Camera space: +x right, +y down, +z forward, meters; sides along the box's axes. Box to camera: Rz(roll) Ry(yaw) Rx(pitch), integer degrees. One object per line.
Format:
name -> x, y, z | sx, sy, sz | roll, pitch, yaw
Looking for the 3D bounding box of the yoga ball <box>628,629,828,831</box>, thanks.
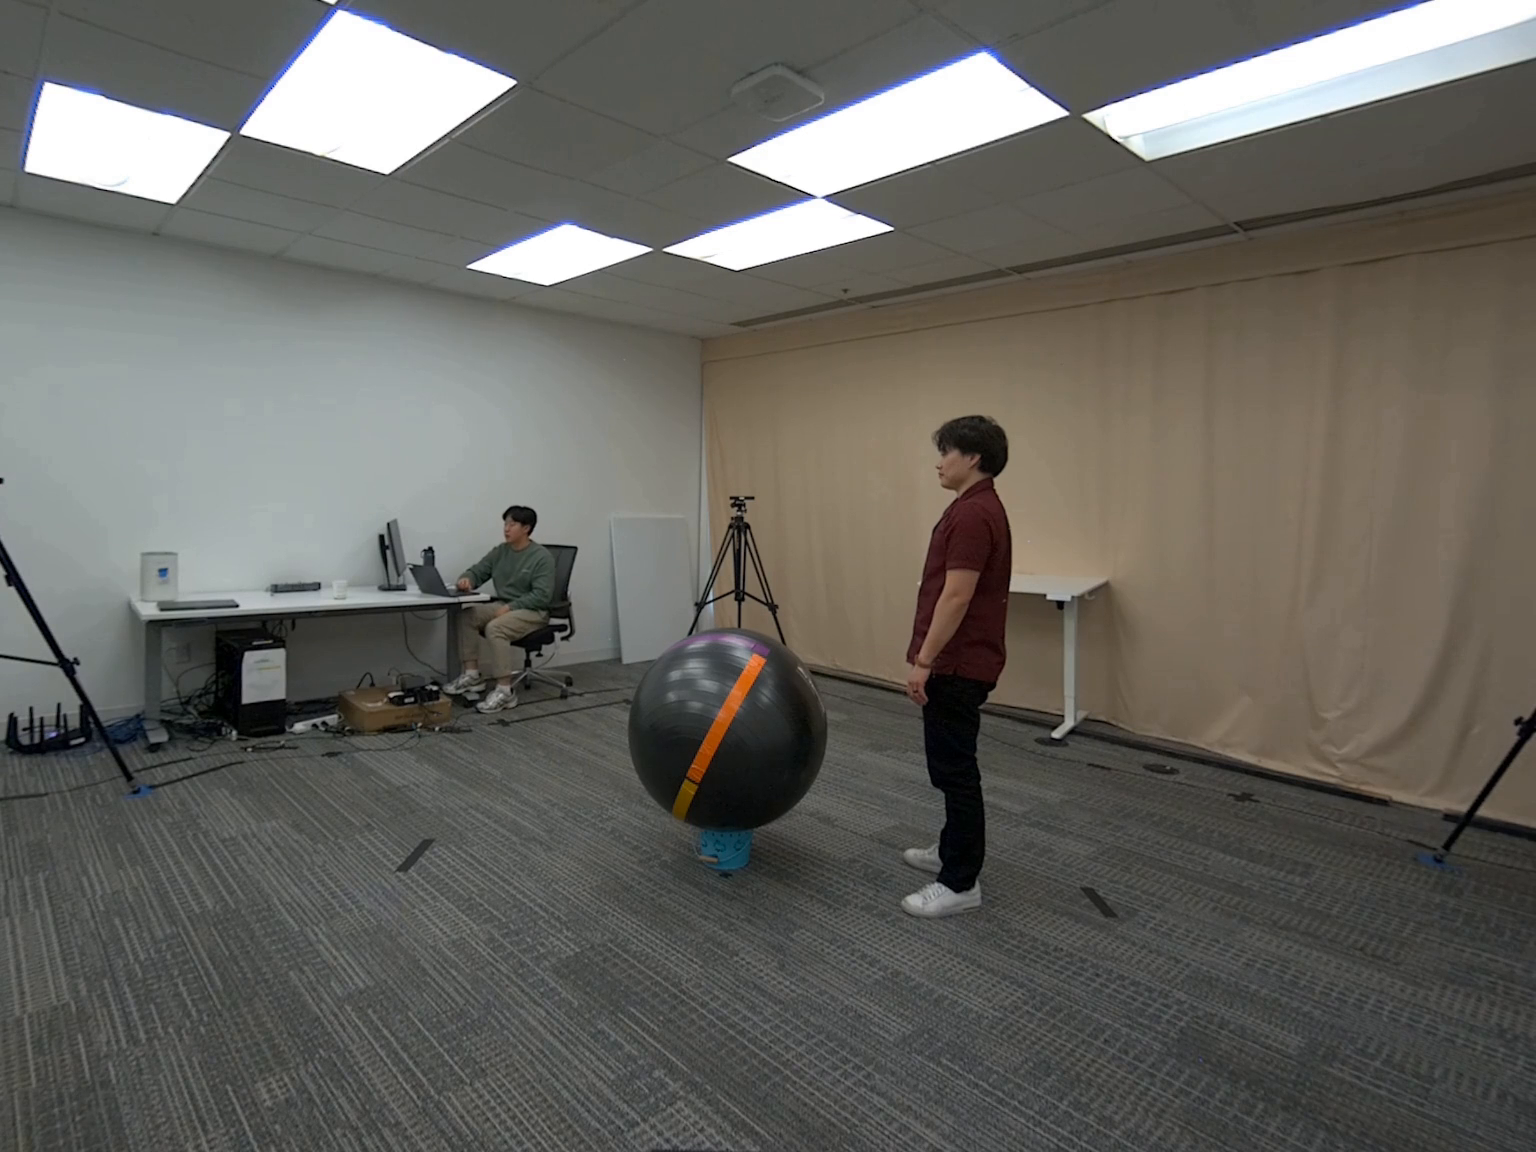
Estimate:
yoga ball -> -0.159, 0.579, 3.211 | 0.757, 0.756, 0.761 | 1, 4, -1
